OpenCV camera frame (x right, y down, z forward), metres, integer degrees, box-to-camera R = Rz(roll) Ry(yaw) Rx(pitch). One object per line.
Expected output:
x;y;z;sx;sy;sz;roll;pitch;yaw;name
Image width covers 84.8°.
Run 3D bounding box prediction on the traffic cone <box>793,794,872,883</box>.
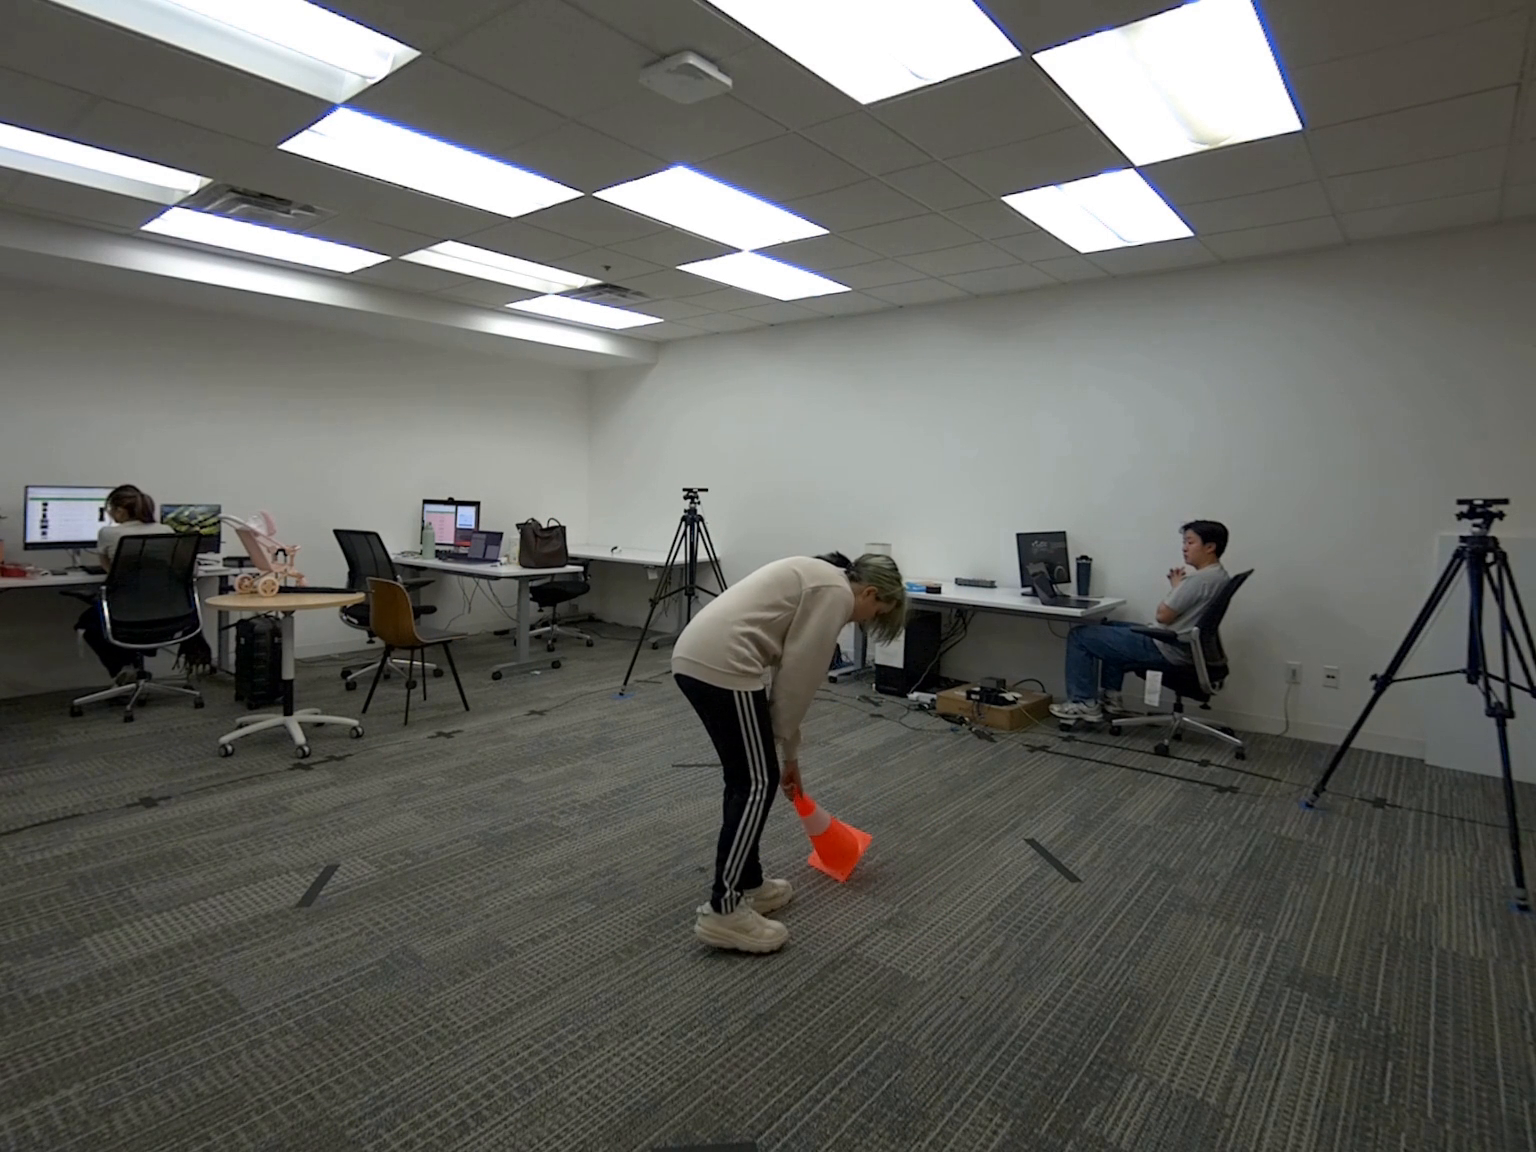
0.165;0.880;3.060;0.212;0.371;0.203;8;50;52;traffic cone
